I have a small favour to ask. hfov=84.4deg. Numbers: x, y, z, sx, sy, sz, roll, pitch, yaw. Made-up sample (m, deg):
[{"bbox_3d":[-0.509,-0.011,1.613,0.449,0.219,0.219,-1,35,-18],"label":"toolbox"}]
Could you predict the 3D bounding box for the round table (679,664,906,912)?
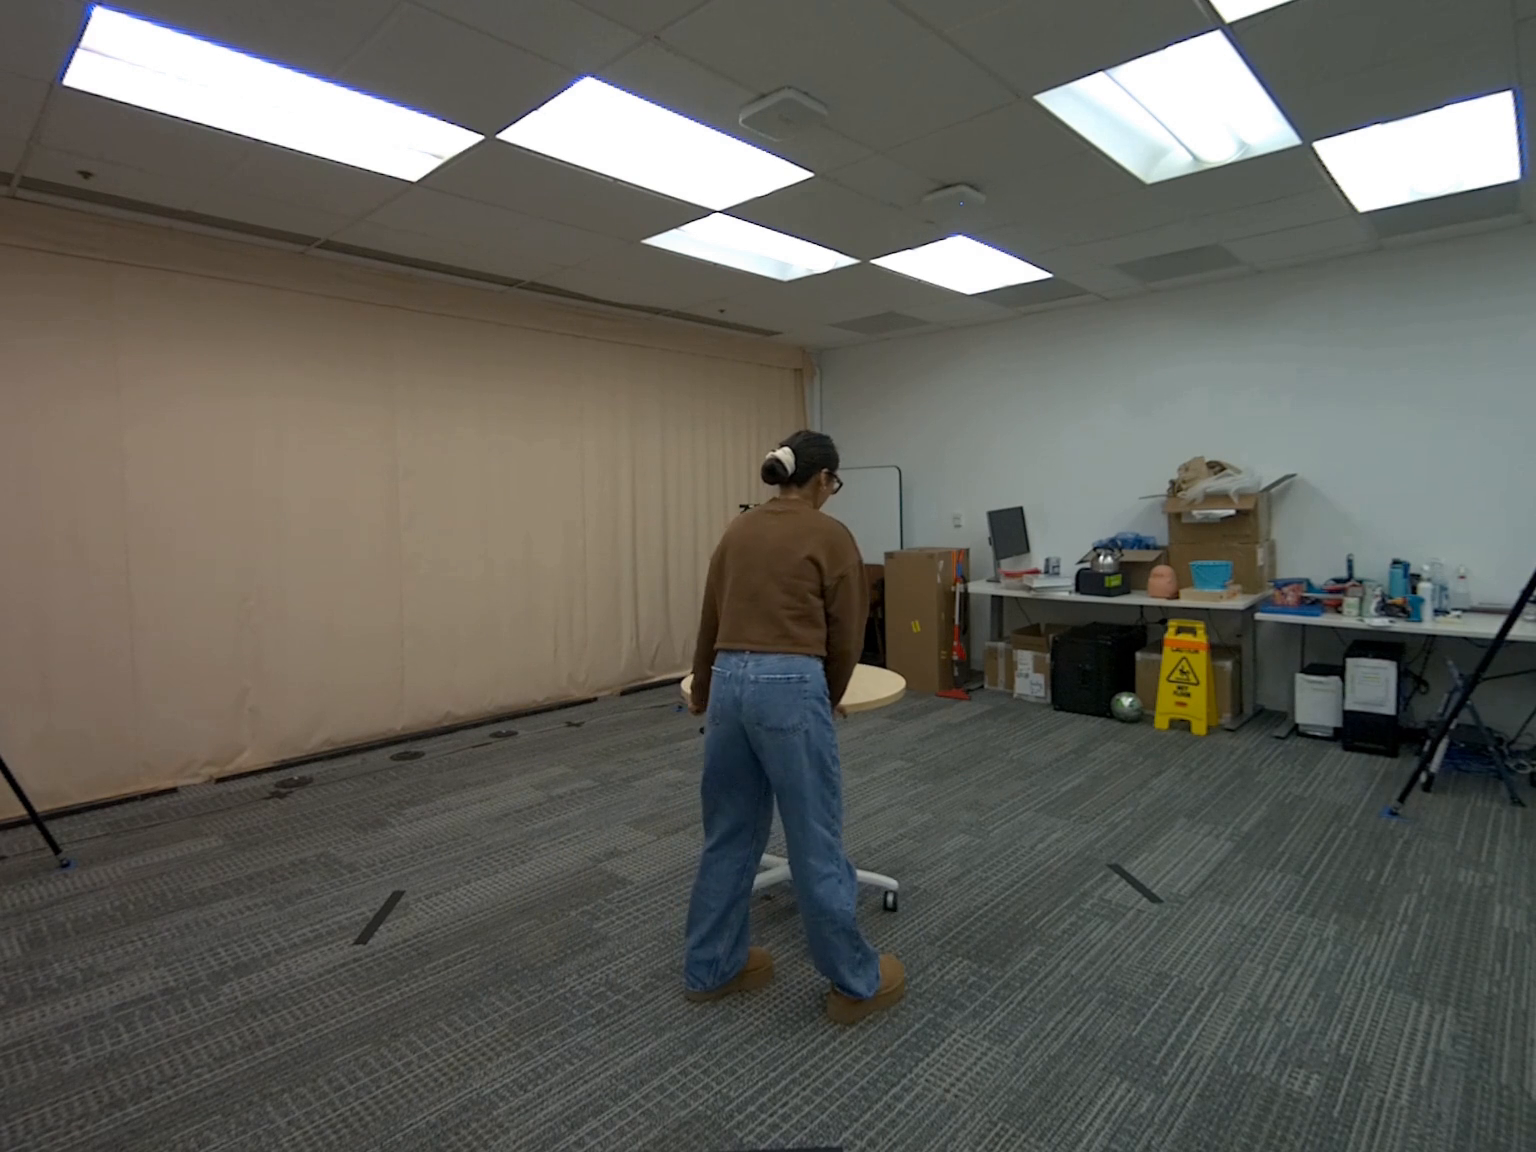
[{"bbox_3d":[0.077,0.749,2.915,0.784,0.784,0.788,-1,4,-2],"label":"round table"}]
